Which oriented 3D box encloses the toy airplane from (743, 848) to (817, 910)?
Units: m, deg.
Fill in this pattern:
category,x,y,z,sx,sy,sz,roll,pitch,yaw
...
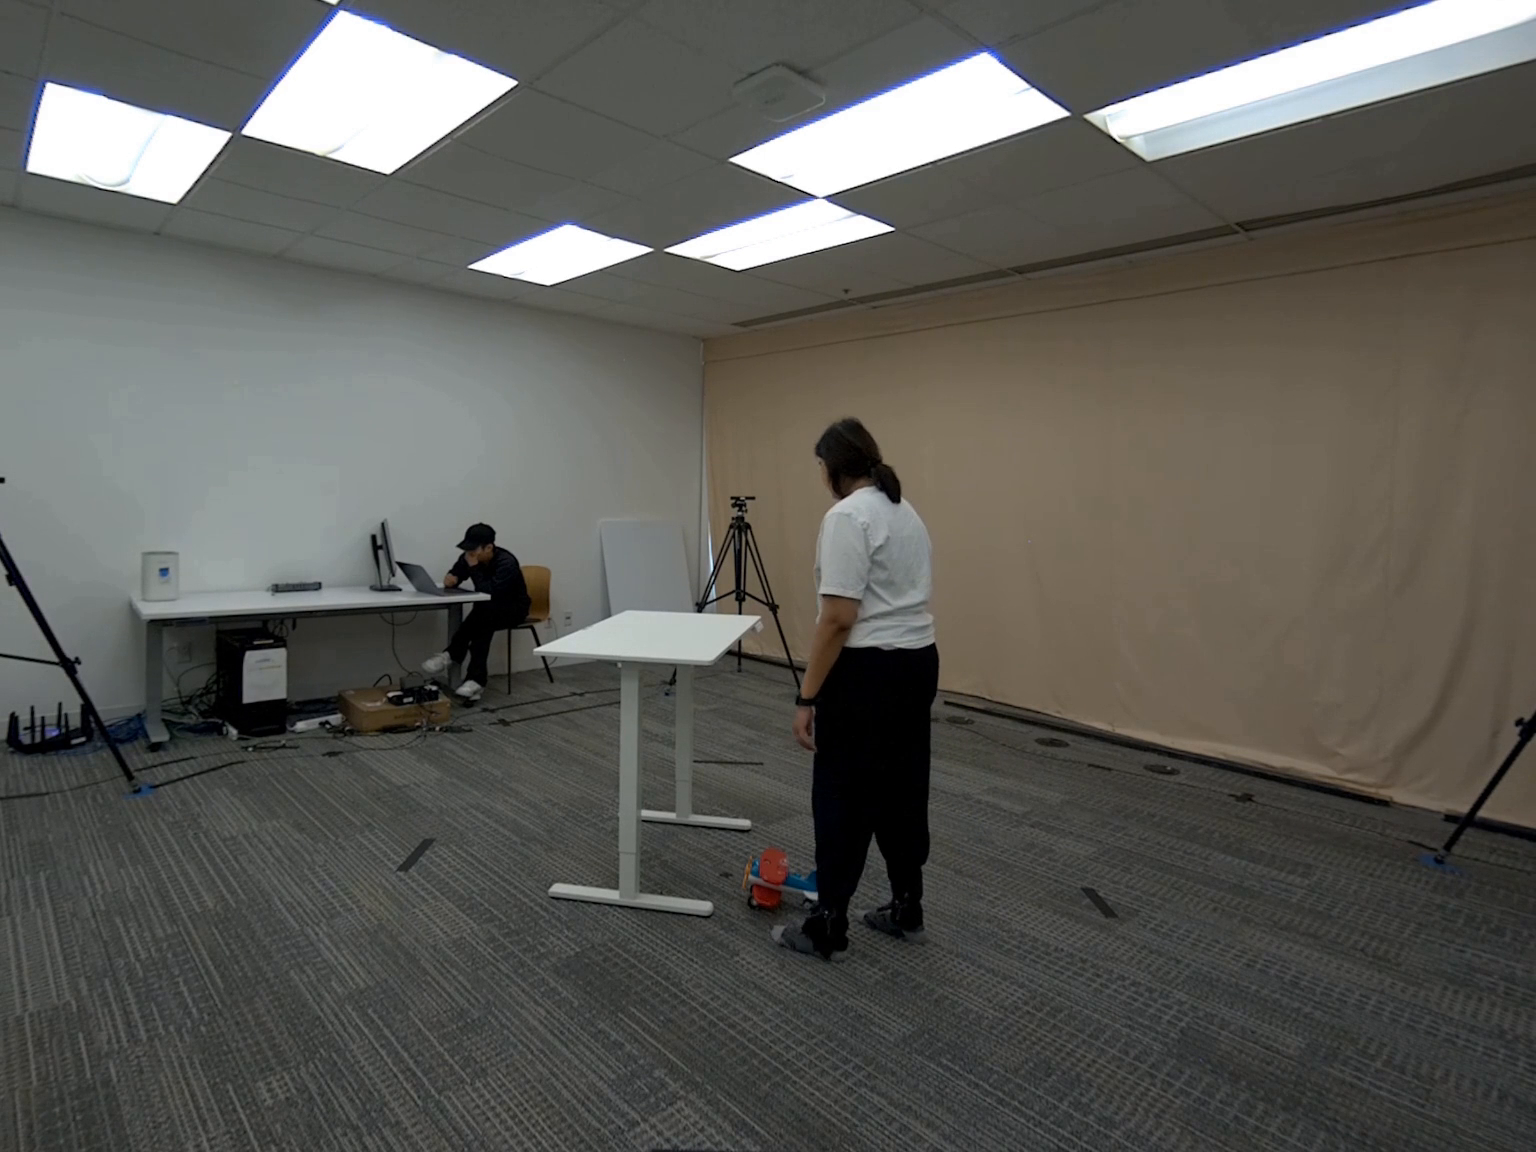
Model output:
category,x,y,z,sx,sy,sz,roll,pitch,yaw
toy airplane,0.039,1.051,2.902,0.255,0.156,0.256,-1,7,-24
